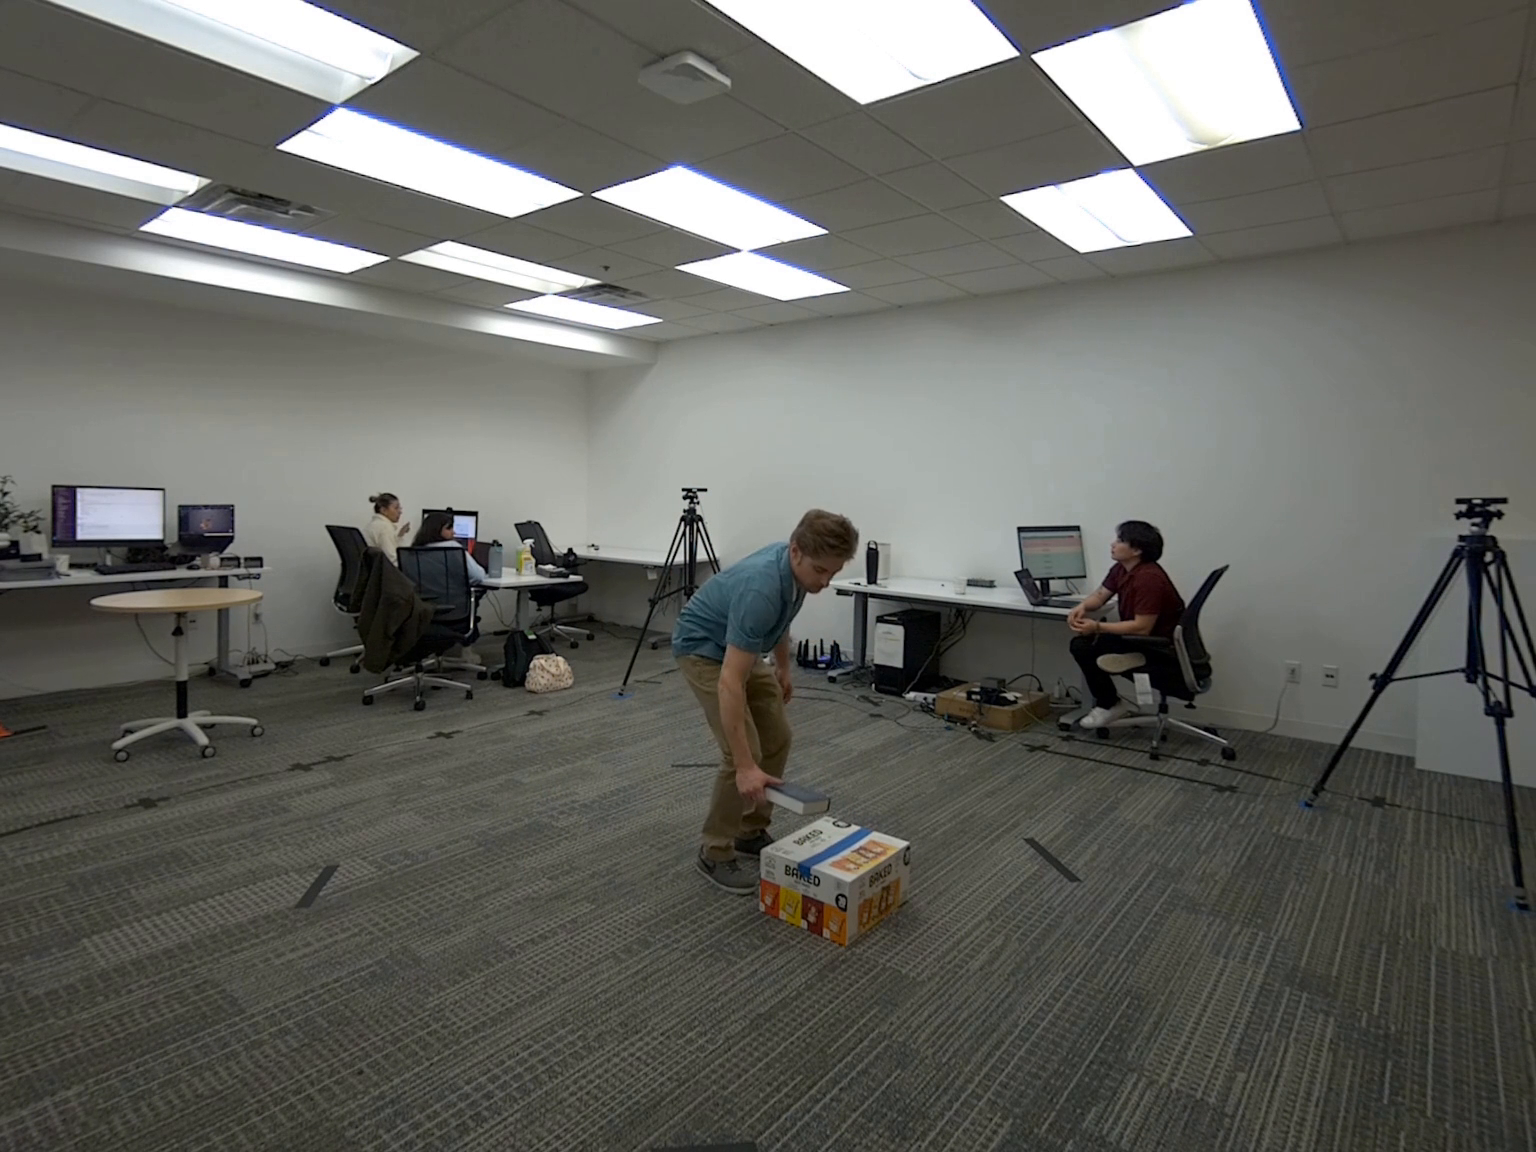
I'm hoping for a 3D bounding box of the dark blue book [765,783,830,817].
[{"bbox_3d":[0.057,0.681,2.696,0.254,0.045,0.157,12,1,37],"label":"dark blue book"}]
